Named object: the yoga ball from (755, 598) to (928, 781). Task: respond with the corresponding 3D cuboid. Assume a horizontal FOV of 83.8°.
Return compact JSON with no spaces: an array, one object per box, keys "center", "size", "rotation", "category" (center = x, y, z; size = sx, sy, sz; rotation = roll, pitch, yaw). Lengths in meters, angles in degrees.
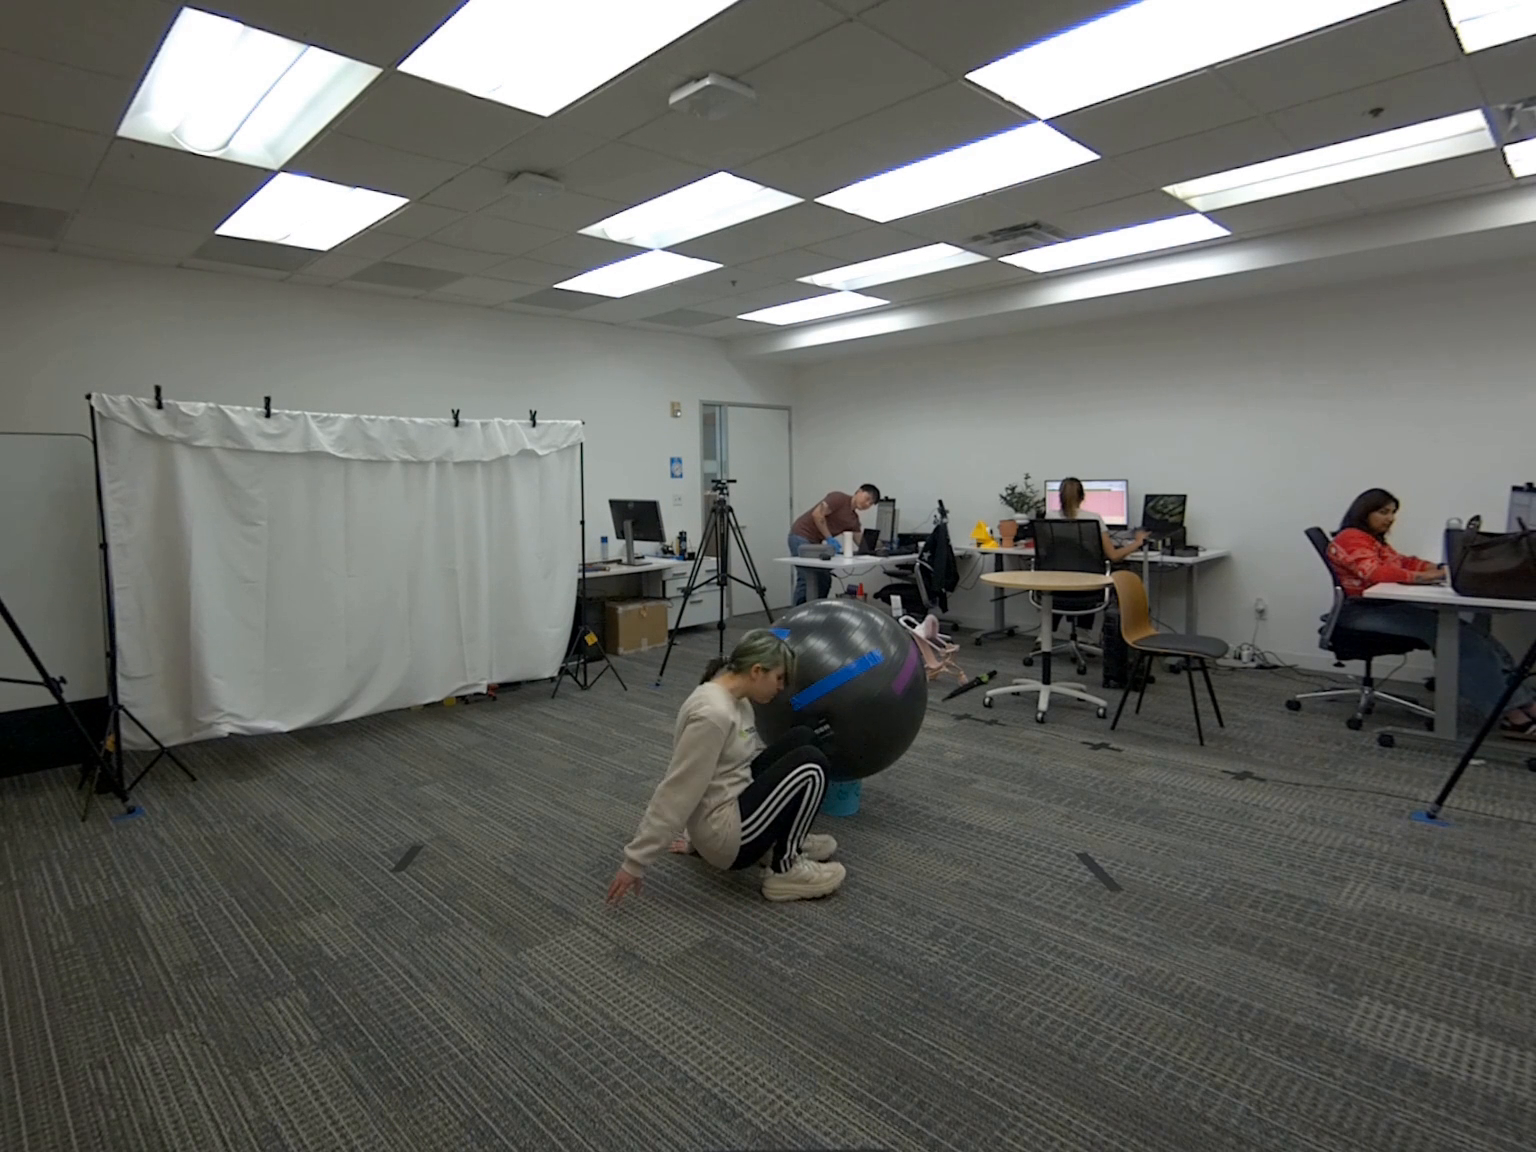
[{"center":[0.288,0.479,3.598],"size":[0.757,0.755,0.762],"rotation":[-1,5,-2],"category":"yoga ball"}]
